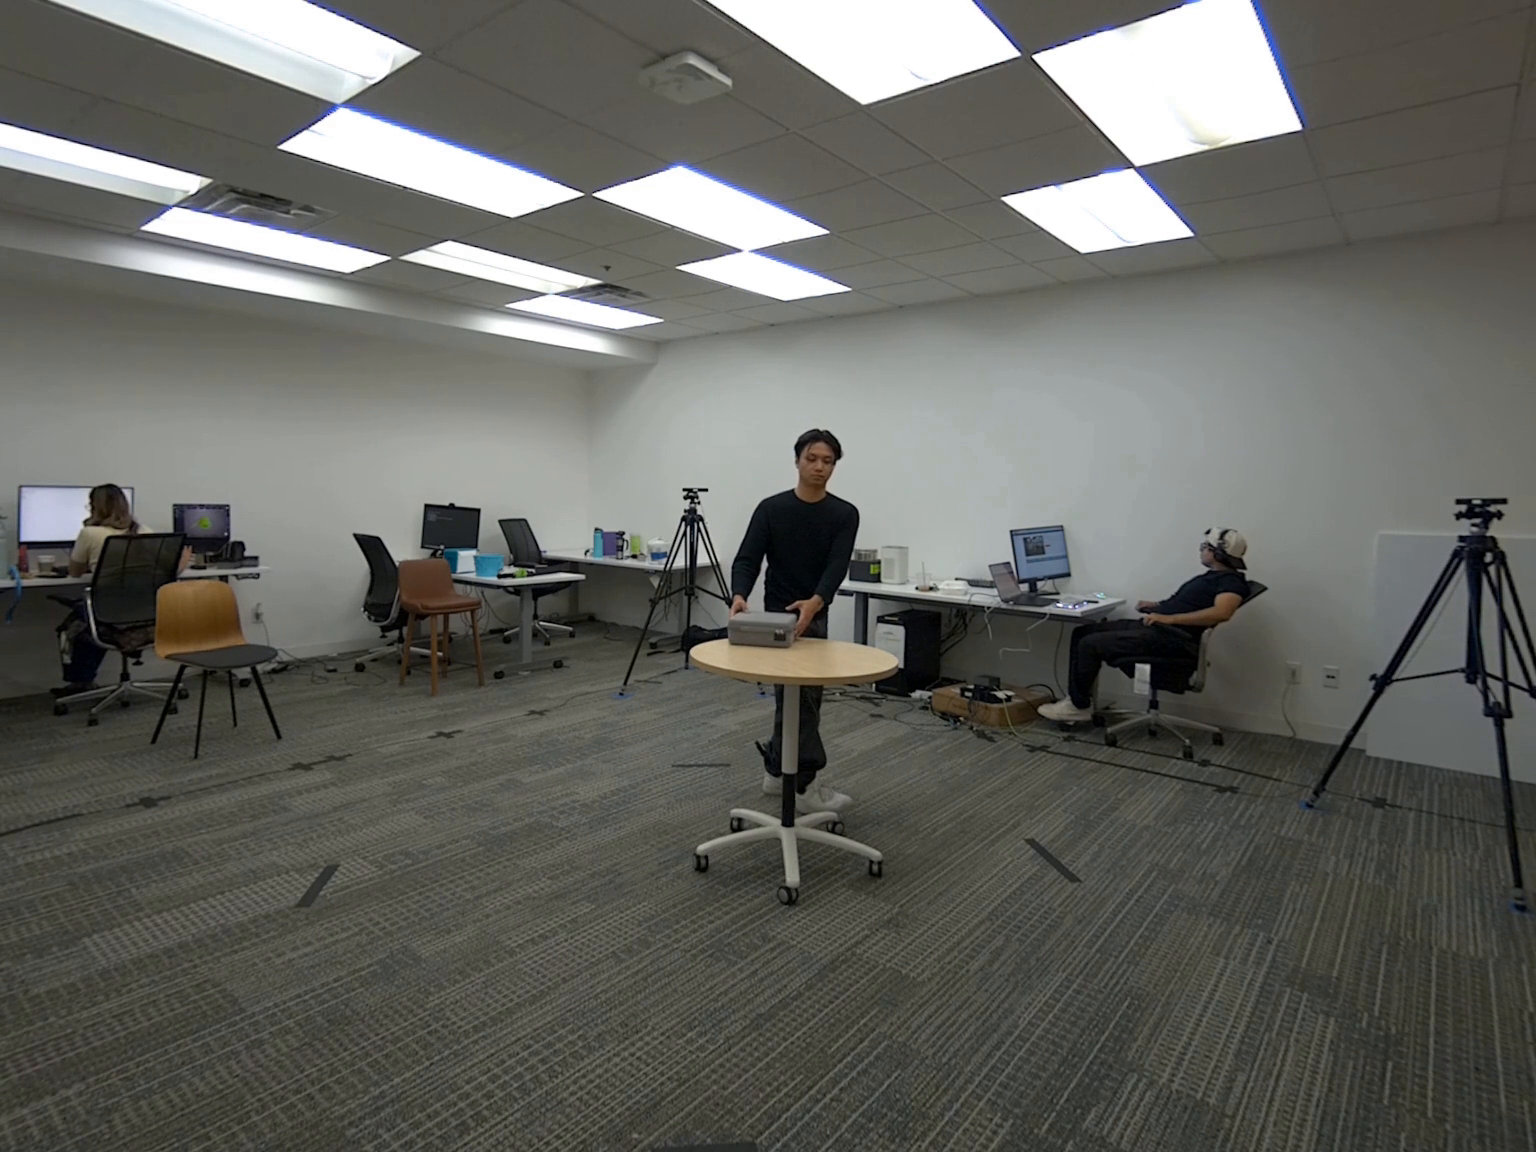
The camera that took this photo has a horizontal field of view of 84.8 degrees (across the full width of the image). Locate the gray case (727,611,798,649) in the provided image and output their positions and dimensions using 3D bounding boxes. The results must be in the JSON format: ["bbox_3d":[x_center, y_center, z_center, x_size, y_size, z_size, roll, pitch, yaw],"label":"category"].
[{"bbox_3d":[-0.008,0.207,3.398,0.260,0.104,0.259,2,6,11],"label":"gray case"}]
